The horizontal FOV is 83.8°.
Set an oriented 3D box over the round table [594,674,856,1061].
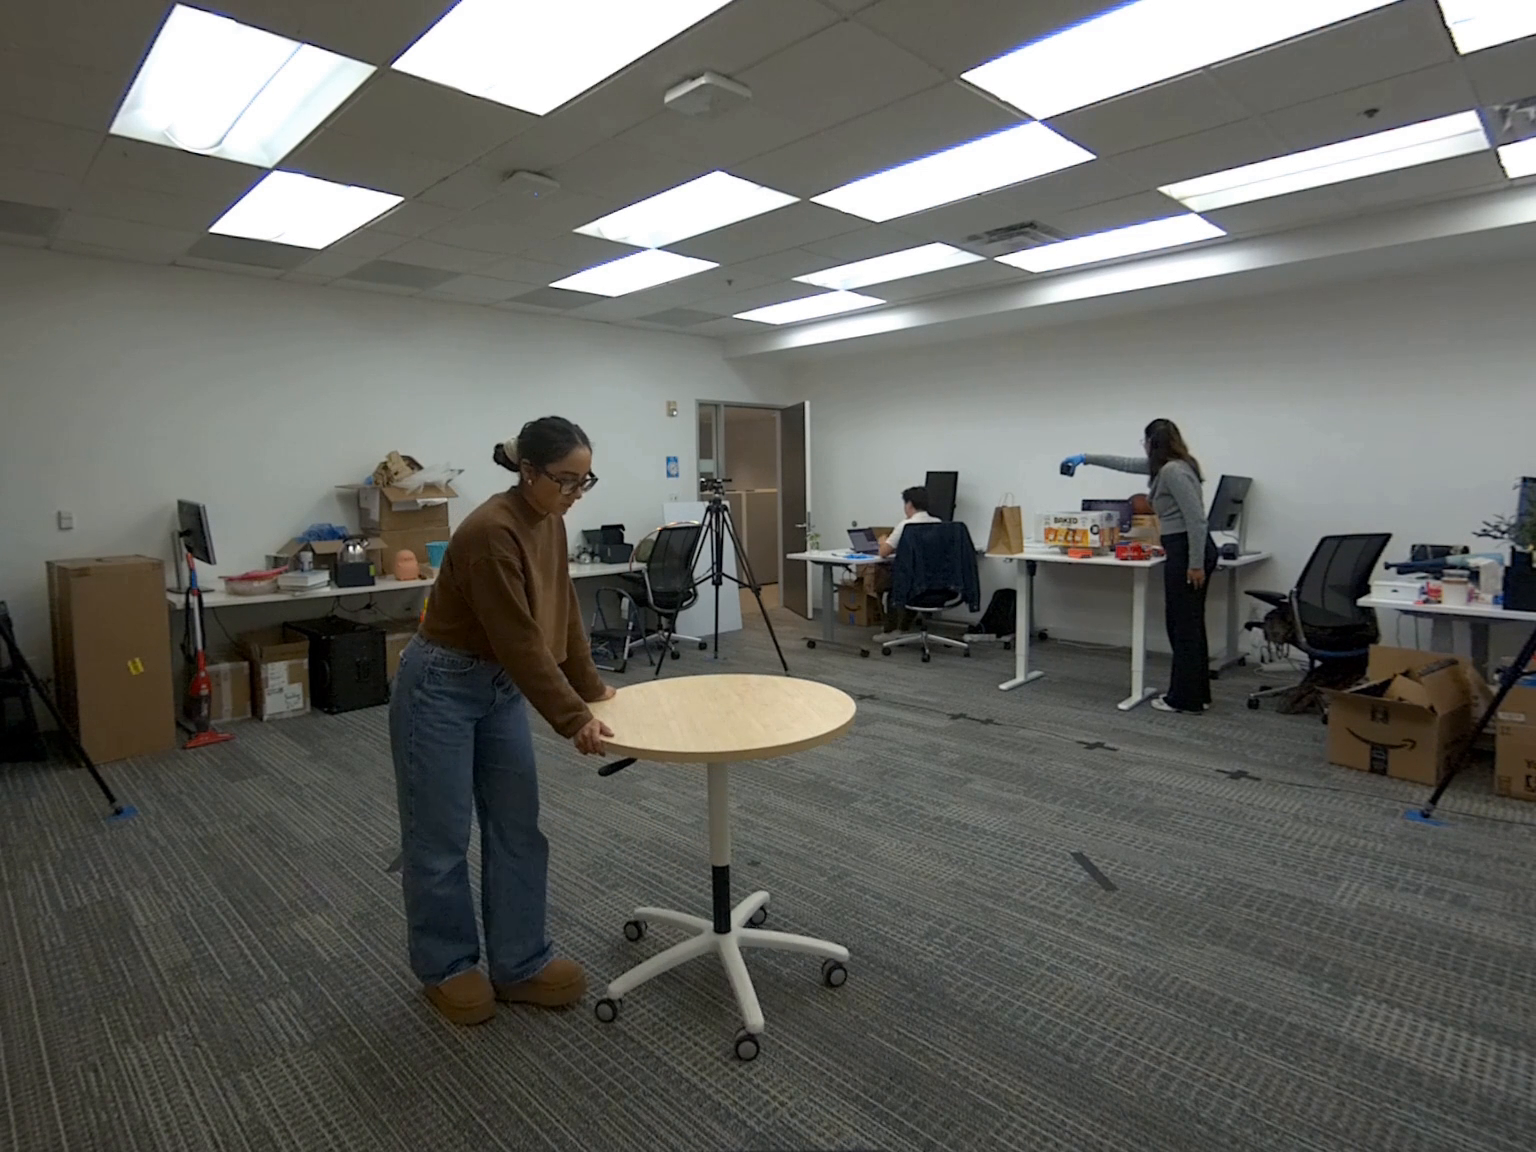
[{"bbox_3d":[-0.133,0.747,2.374,0.763,0.791,0.768,-1,5,-2],"label":"round table"}]
